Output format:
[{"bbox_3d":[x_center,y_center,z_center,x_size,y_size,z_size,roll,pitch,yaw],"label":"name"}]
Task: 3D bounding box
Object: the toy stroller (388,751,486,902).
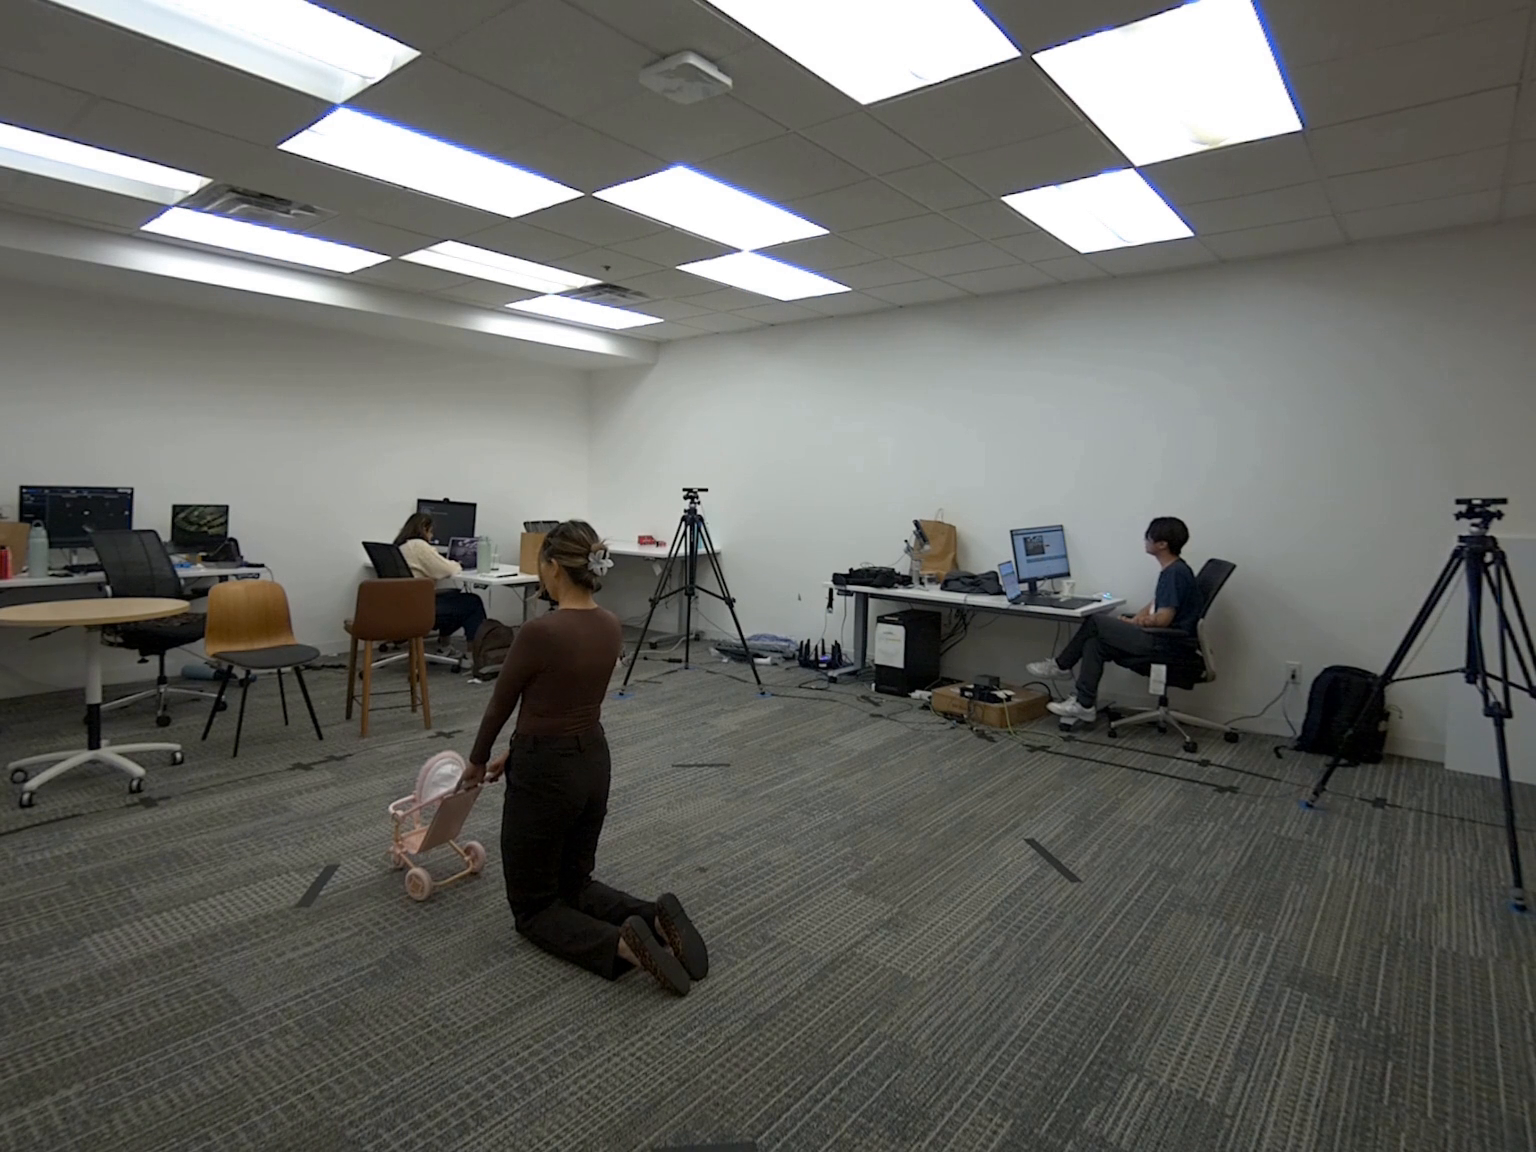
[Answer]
[{"bbox_3d":[-1.171,0.845,2.970,0.354,0.531,0.273,24,14,30],"label":"toy stroller"}]
